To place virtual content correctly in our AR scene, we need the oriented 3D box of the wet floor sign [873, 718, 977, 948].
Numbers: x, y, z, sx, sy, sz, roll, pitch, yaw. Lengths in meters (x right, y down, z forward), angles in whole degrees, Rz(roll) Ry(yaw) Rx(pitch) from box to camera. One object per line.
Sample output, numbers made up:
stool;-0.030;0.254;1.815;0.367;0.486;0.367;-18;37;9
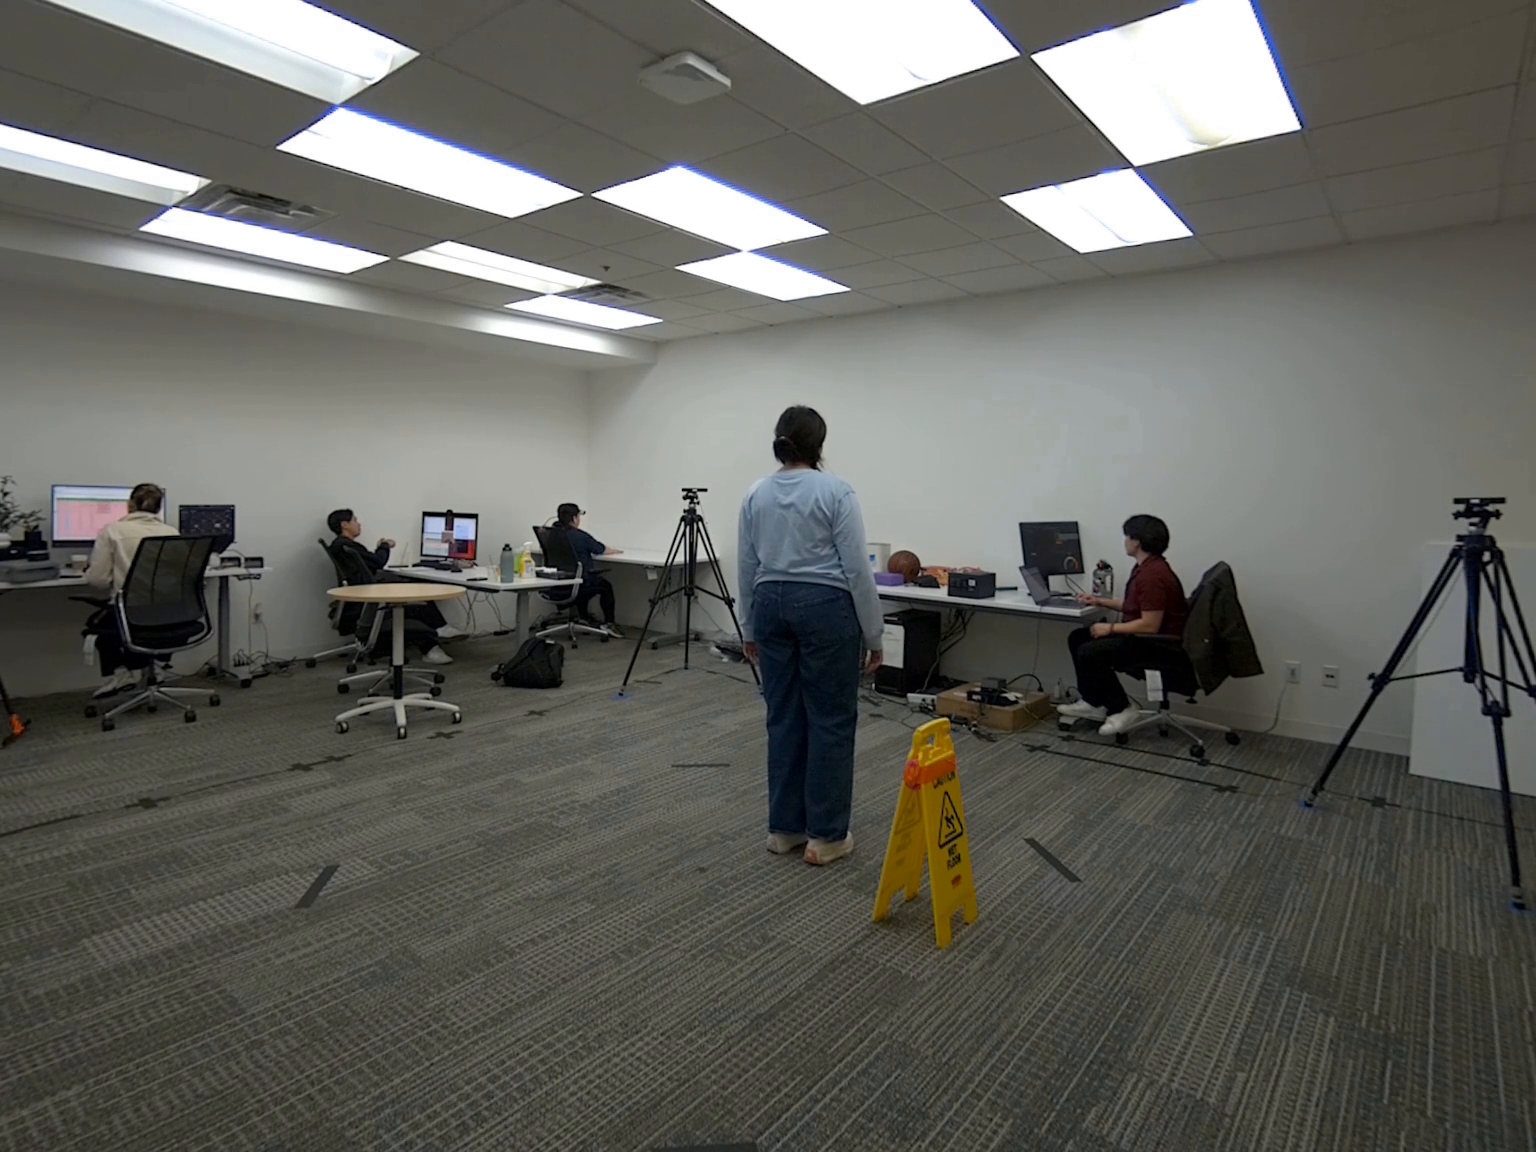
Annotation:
wet floor sign;0.519;0.793;2.768;0.299;0.644;0.274;4;5;40
